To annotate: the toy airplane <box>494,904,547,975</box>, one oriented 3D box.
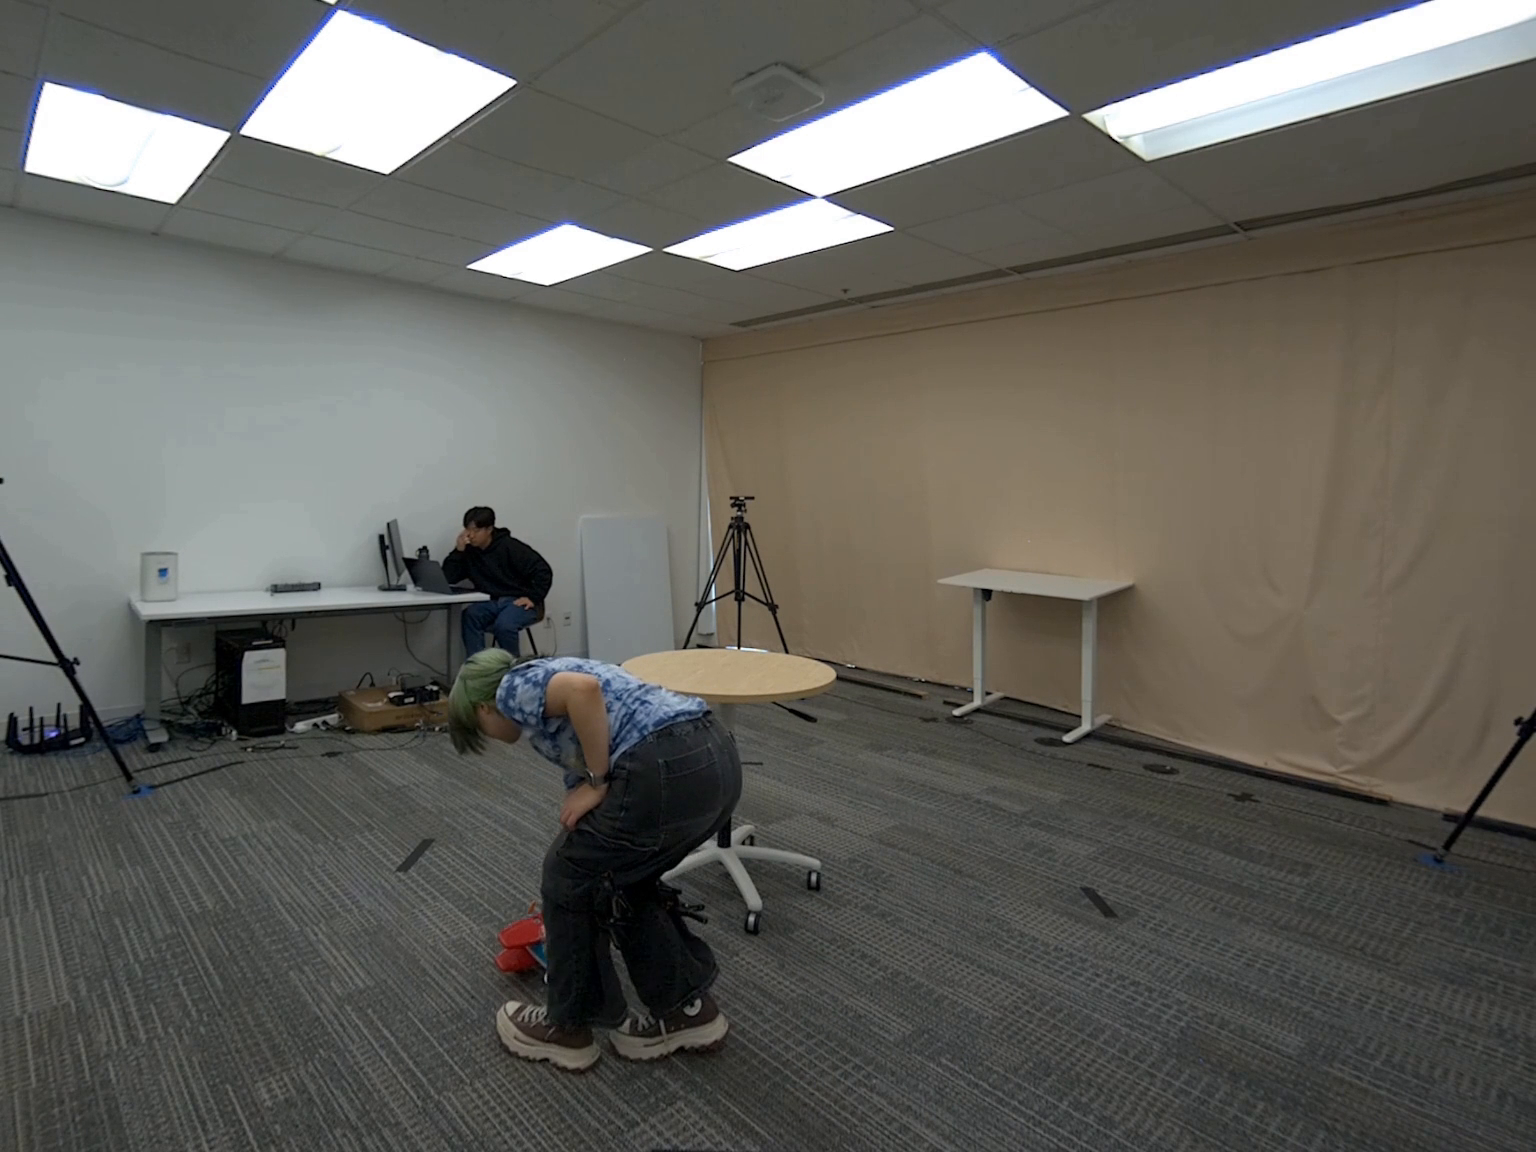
[{"bbox_3d":[-0.638,1.085,2.425,0.263,0.156,0.248,3,5,16],"label":"toy airplane"}]
